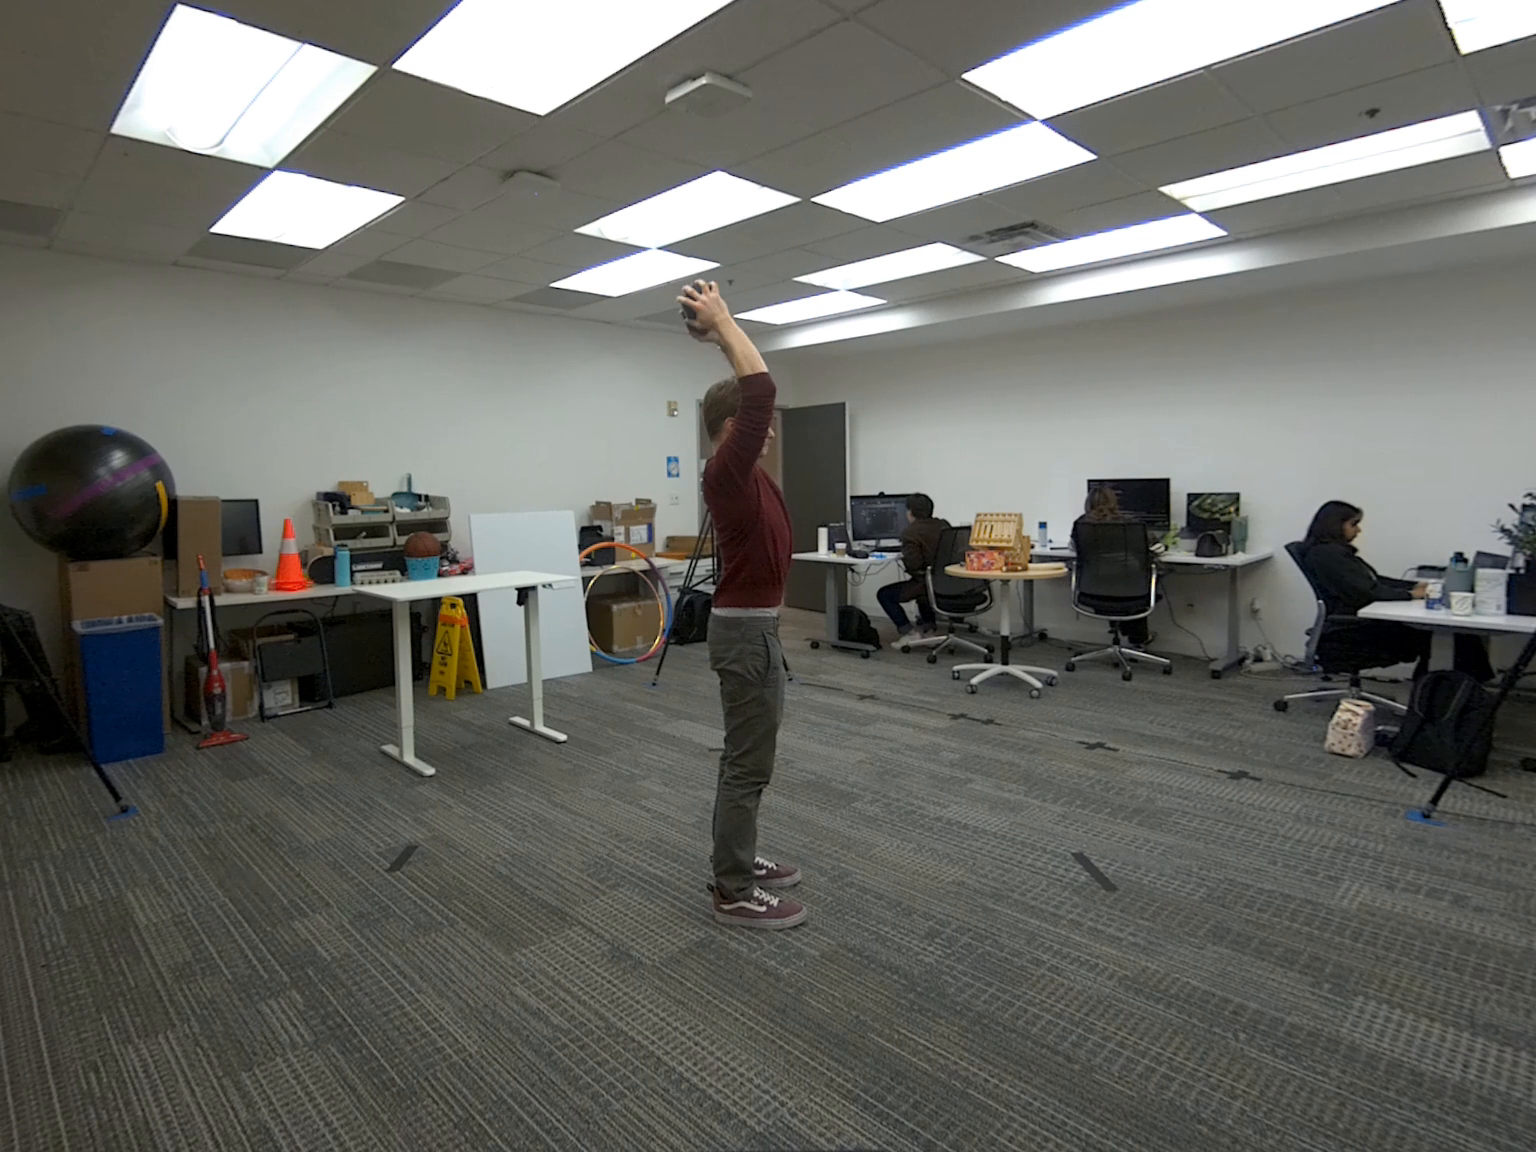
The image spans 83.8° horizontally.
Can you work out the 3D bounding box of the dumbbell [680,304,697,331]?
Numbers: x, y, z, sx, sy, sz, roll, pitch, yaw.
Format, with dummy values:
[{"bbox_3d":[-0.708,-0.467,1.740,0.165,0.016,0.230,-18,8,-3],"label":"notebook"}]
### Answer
[{"bbox_3d":[-0.207,-0.846,2.725,0.123,0.108,0.295,8,6,-3],"label":"dumbbell"}]
